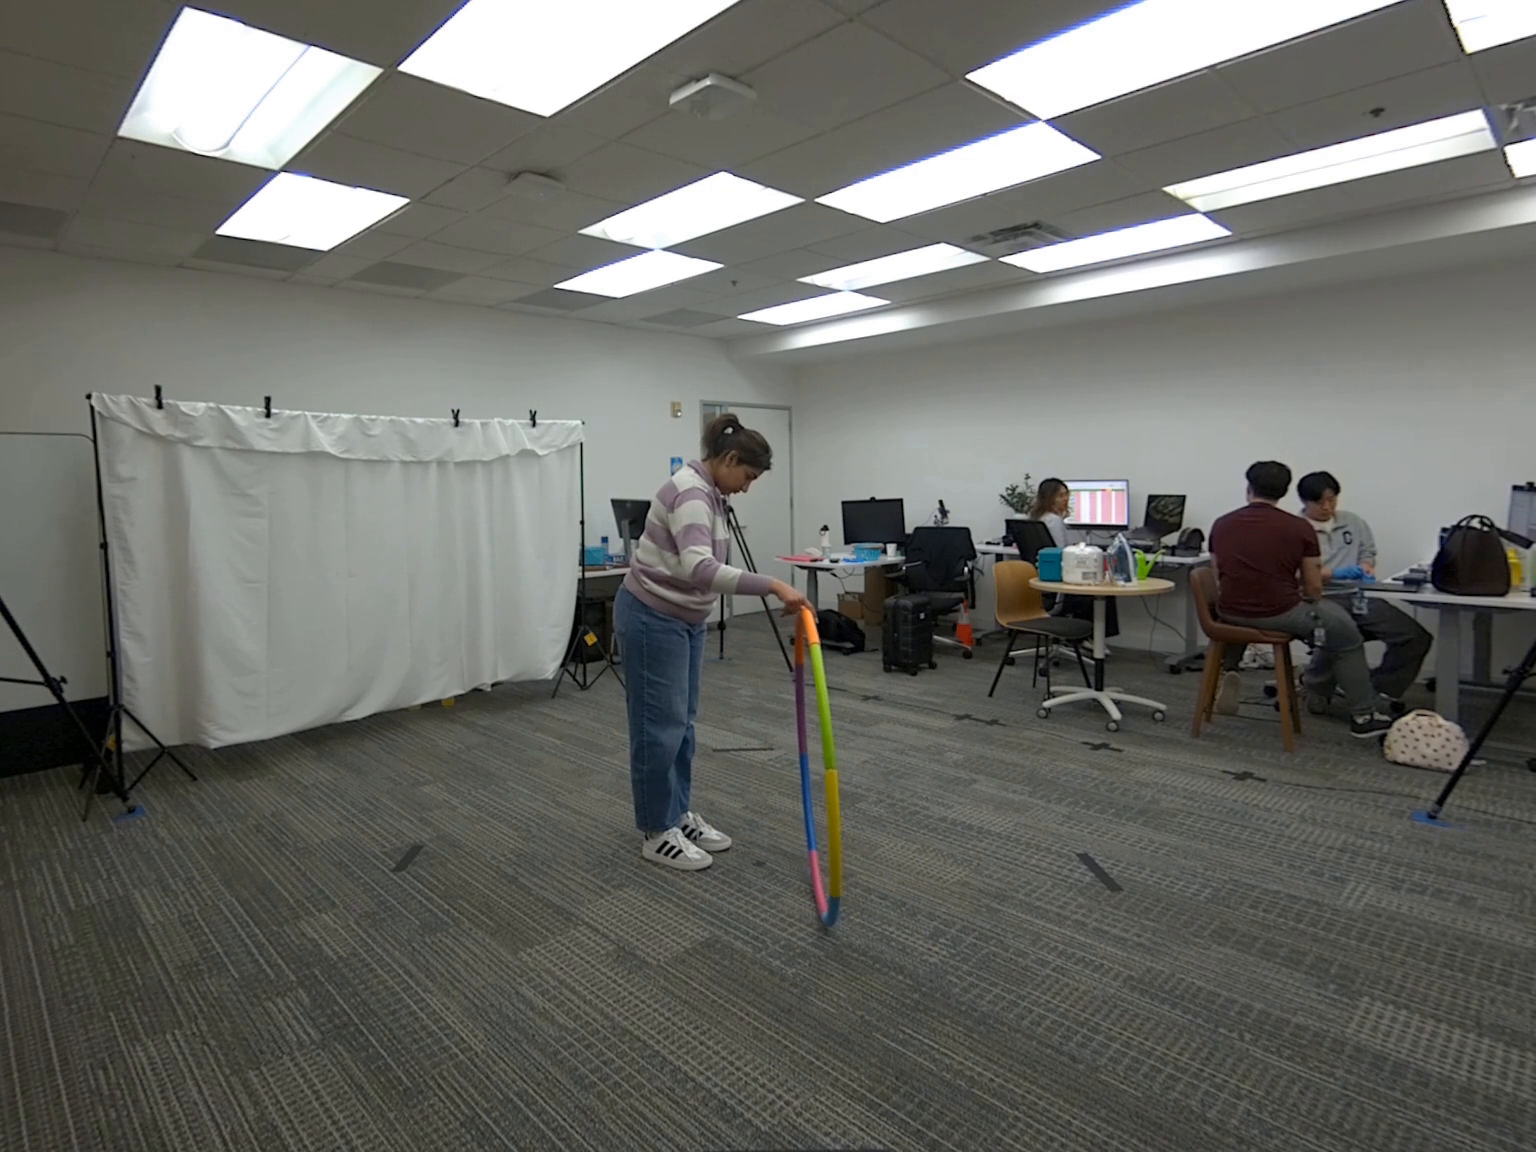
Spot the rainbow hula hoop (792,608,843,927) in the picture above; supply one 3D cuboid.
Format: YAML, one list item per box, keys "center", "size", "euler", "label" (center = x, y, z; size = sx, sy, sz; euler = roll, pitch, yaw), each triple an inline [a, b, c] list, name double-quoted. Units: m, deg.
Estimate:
- center: [0.156, 0.597, 2.761]
  size: [0.035, 0.975, 0.983]
  euler: [-4, 5, -3]
  label: "rainbow hula hoop"
